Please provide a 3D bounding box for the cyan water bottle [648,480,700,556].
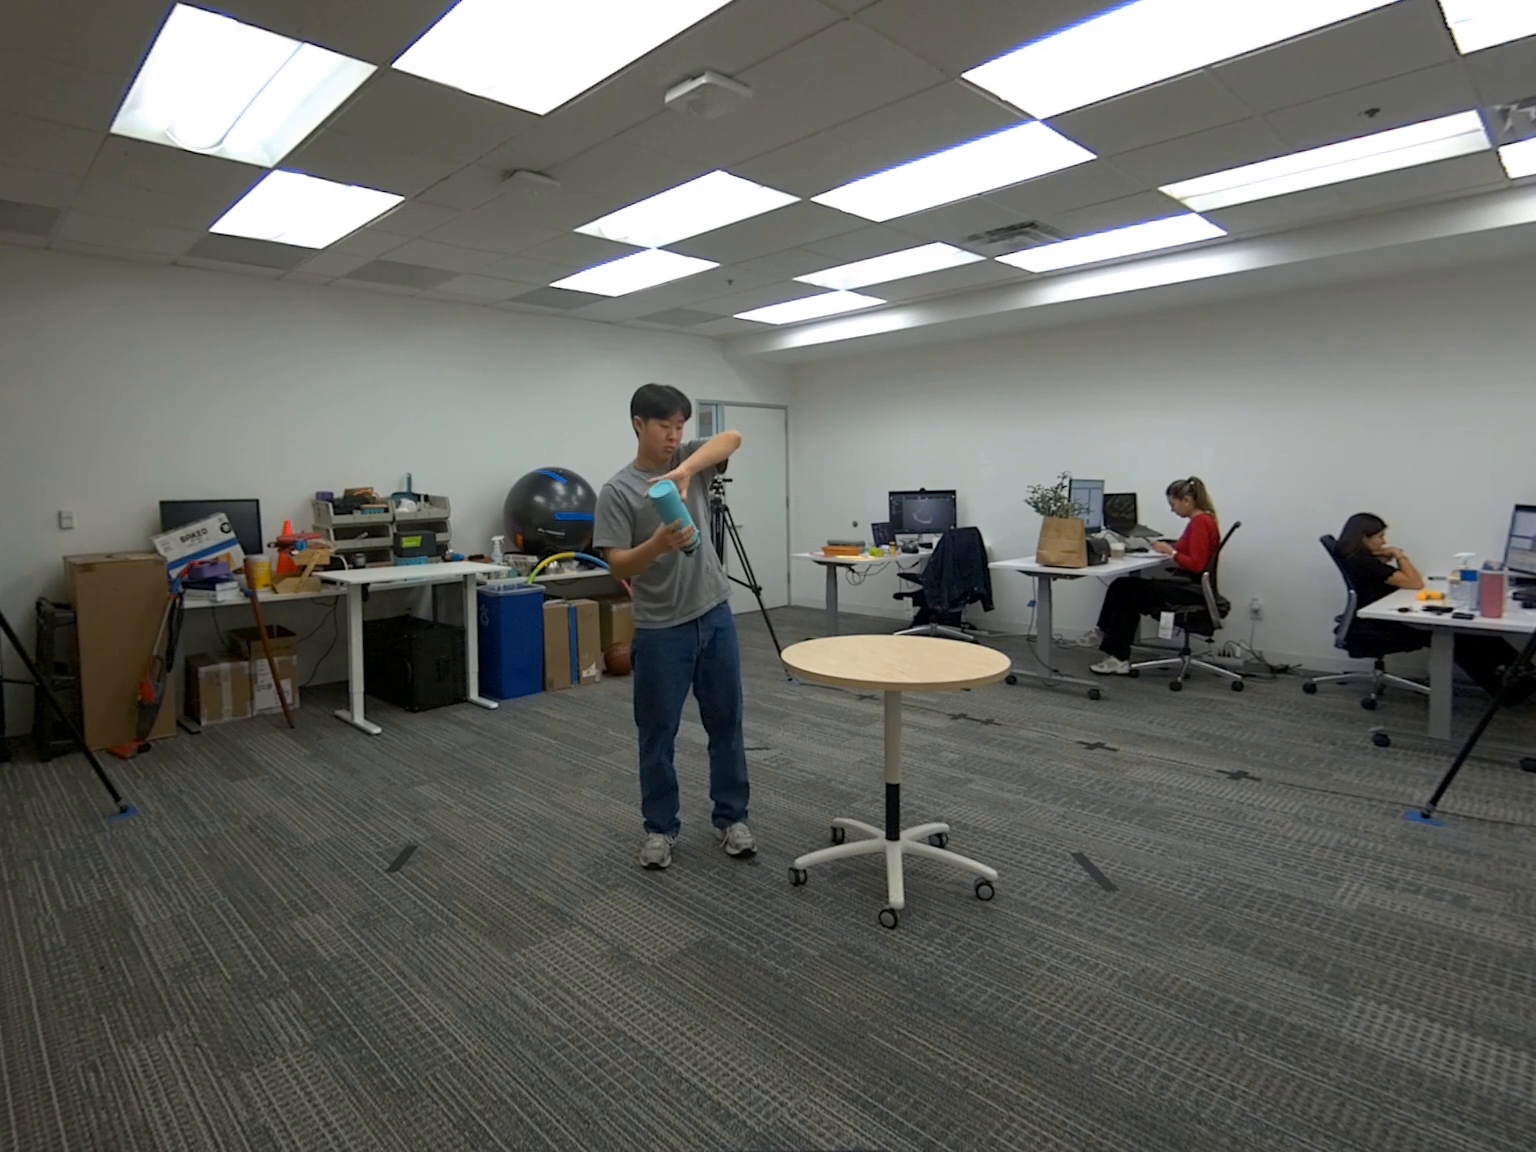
[{"bbox_3d":[-0.291,-0.182,2.814,0.093,0.273,0.095,-12,42,10],"label":"cyan water bottle"}]
